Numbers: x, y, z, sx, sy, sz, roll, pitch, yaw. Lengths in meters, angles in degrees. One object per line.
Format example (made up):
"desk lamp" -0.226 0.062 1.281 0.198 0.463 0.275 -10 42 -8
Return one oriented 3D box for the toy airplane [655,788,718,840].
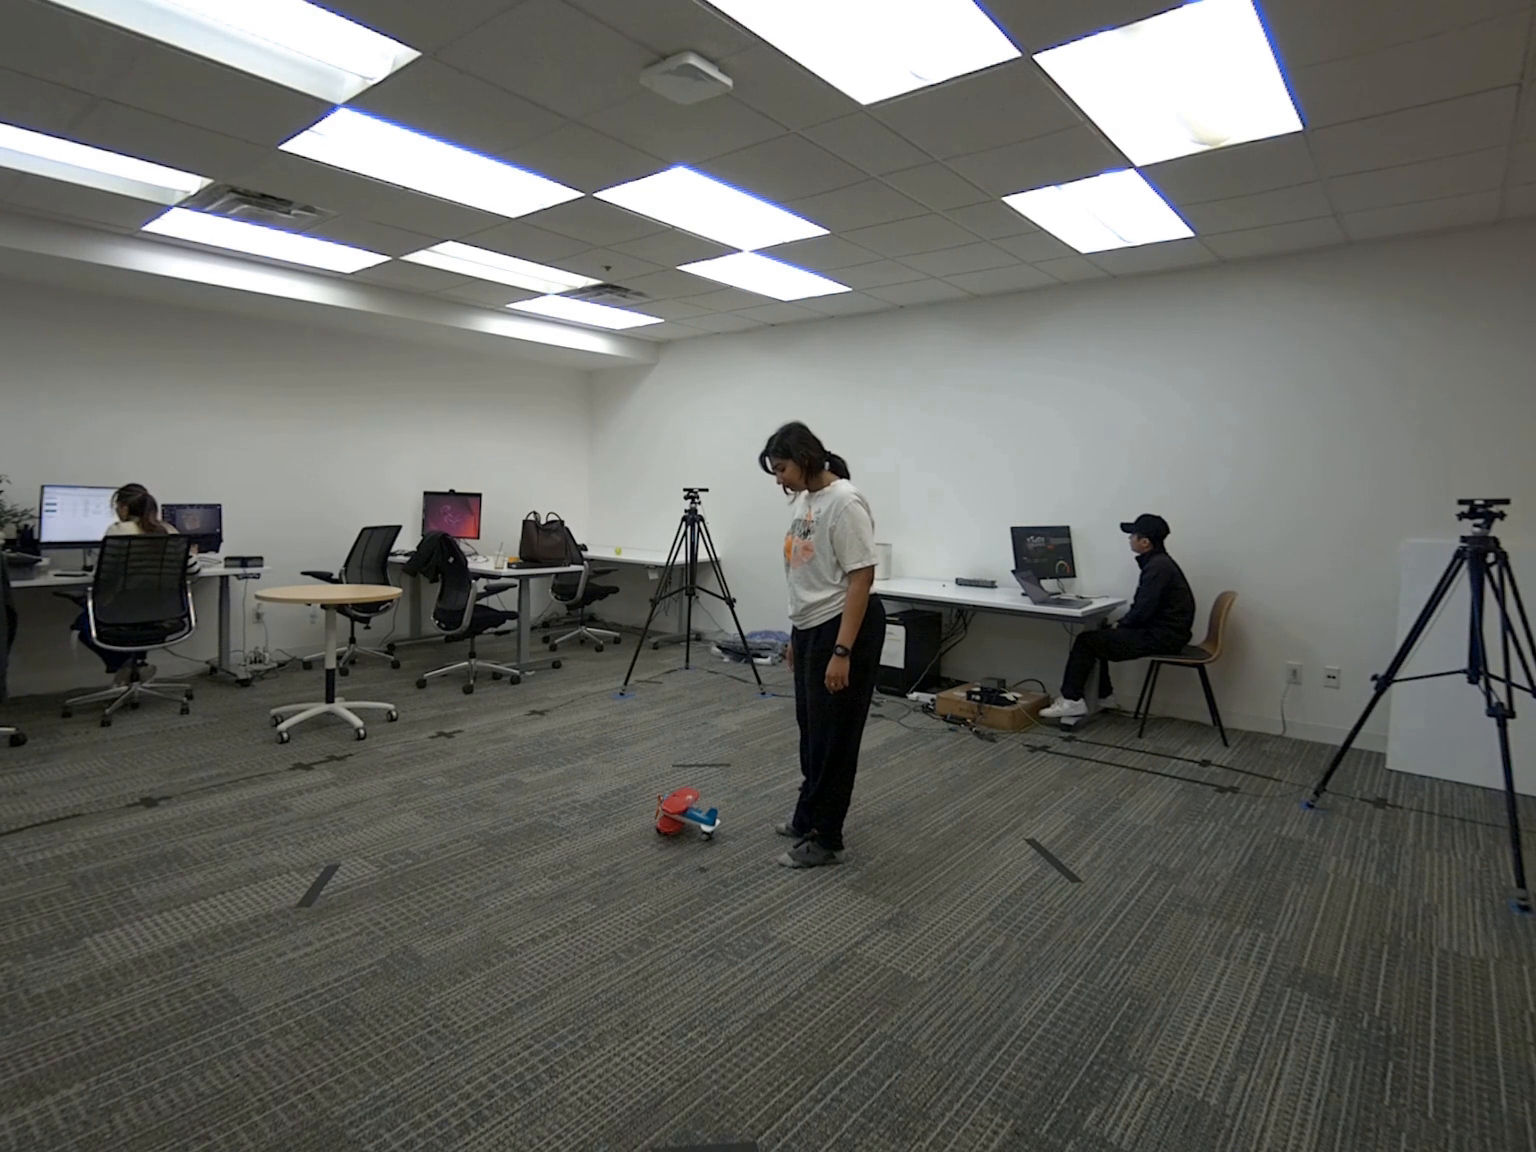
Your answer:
"toy airplane" -0.333 0.960 3.437 0.257 0.156 0.254 0 4 -8
